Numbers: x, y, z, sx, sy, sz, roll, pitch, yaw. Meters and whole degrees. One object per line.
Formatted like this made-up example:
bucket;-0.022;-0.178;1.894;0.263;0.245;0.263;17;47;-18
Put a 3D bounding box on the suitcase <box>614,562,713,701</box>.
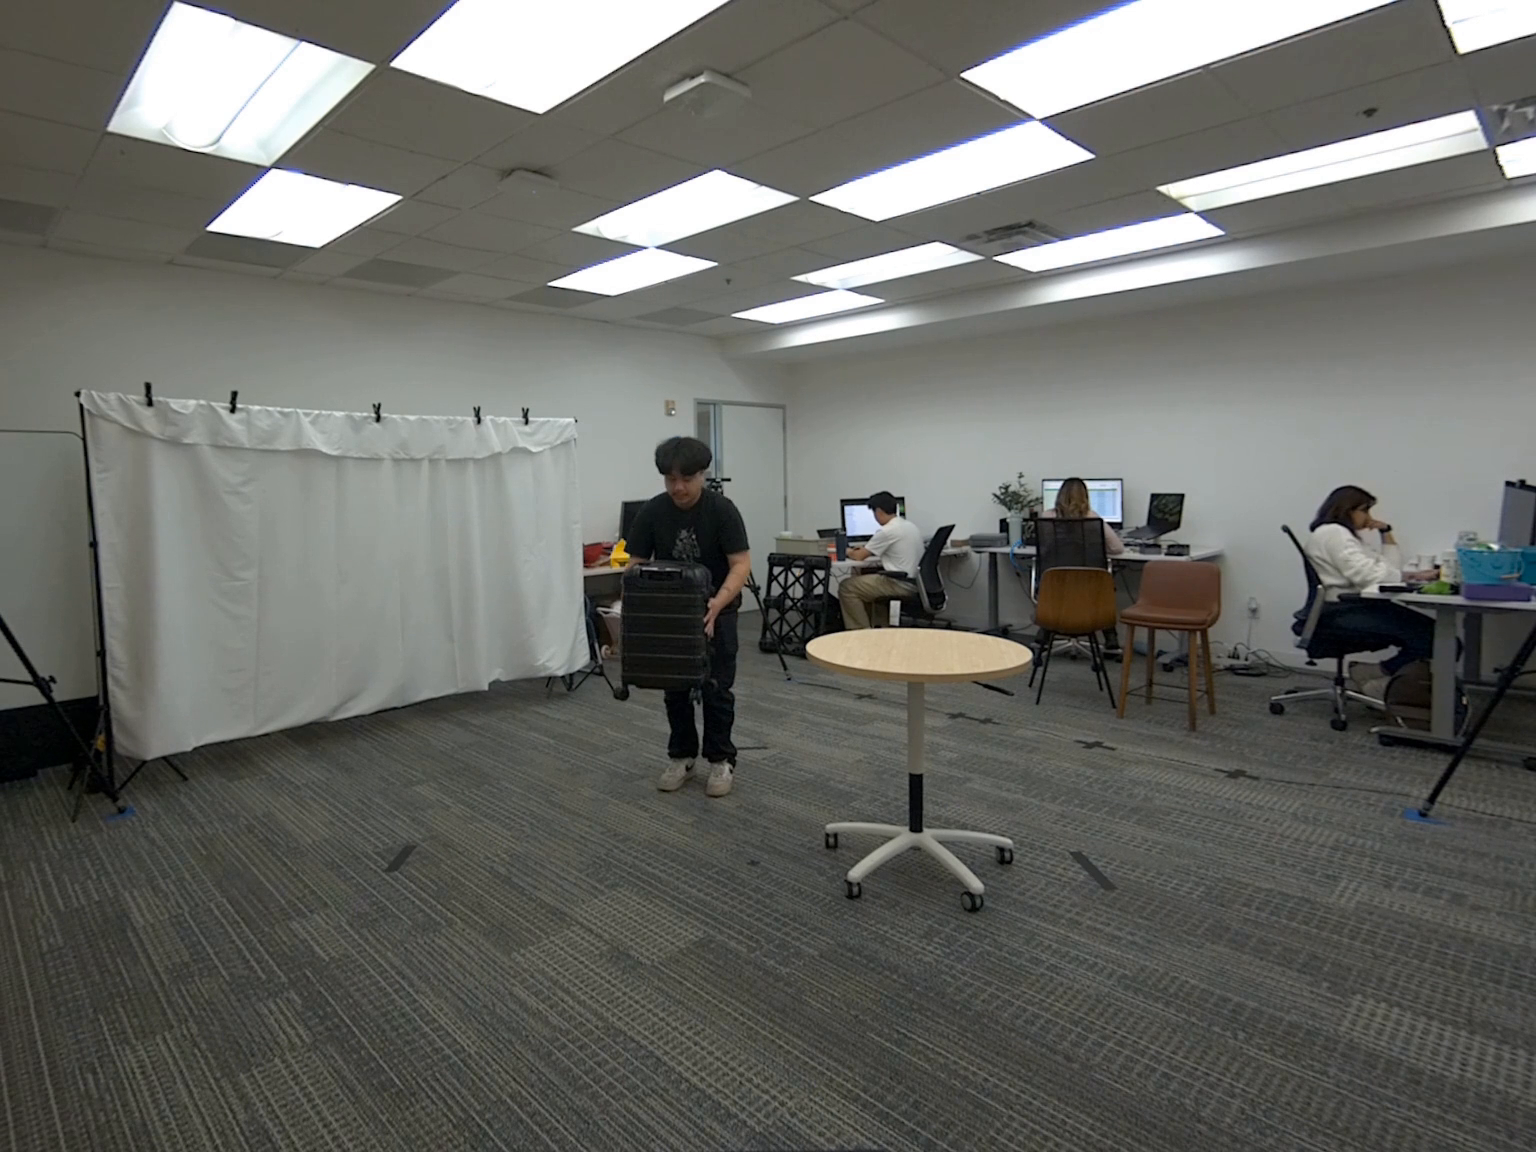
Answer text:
suitcase;-0.418;0.223;3.512;0.380;0.548;0.246;0;3;12
